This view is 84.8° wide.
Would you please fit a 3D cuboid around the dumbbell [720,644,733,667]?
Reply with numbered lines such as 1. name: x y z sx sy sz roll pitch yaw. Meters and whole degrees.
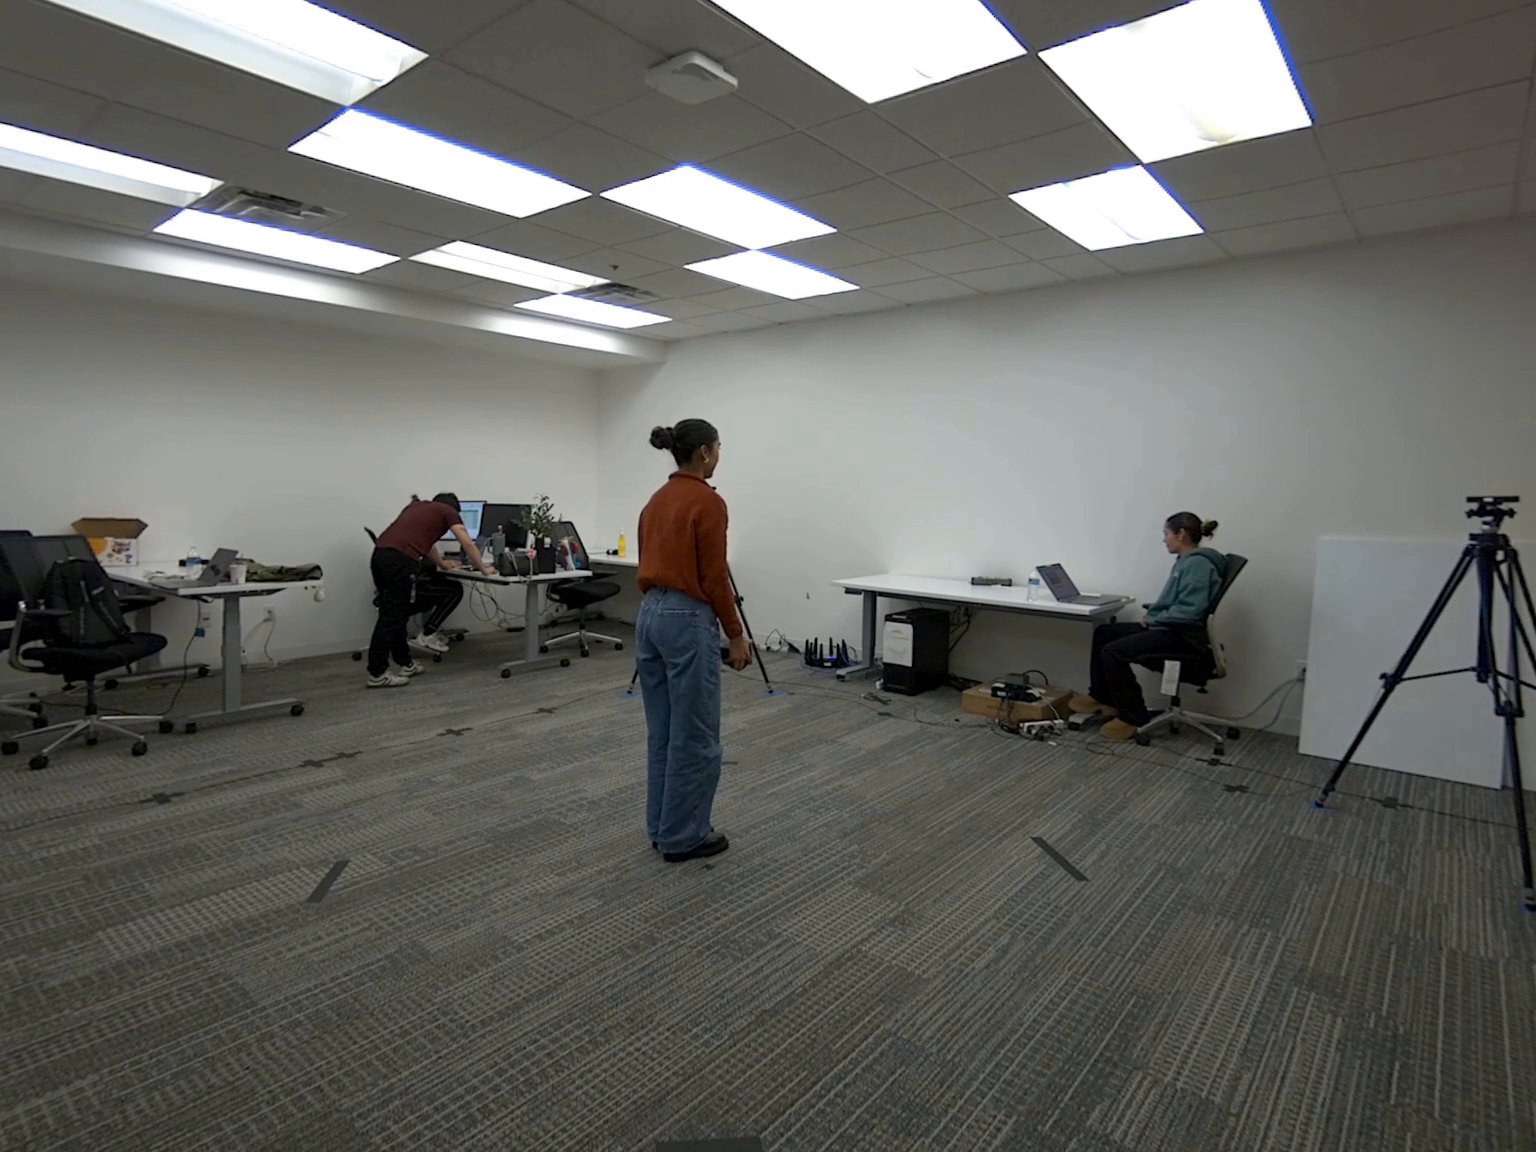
1. dumbbell: -0.207 0.290 3.337 0.106 0.122 0.302 -8 6 -36
